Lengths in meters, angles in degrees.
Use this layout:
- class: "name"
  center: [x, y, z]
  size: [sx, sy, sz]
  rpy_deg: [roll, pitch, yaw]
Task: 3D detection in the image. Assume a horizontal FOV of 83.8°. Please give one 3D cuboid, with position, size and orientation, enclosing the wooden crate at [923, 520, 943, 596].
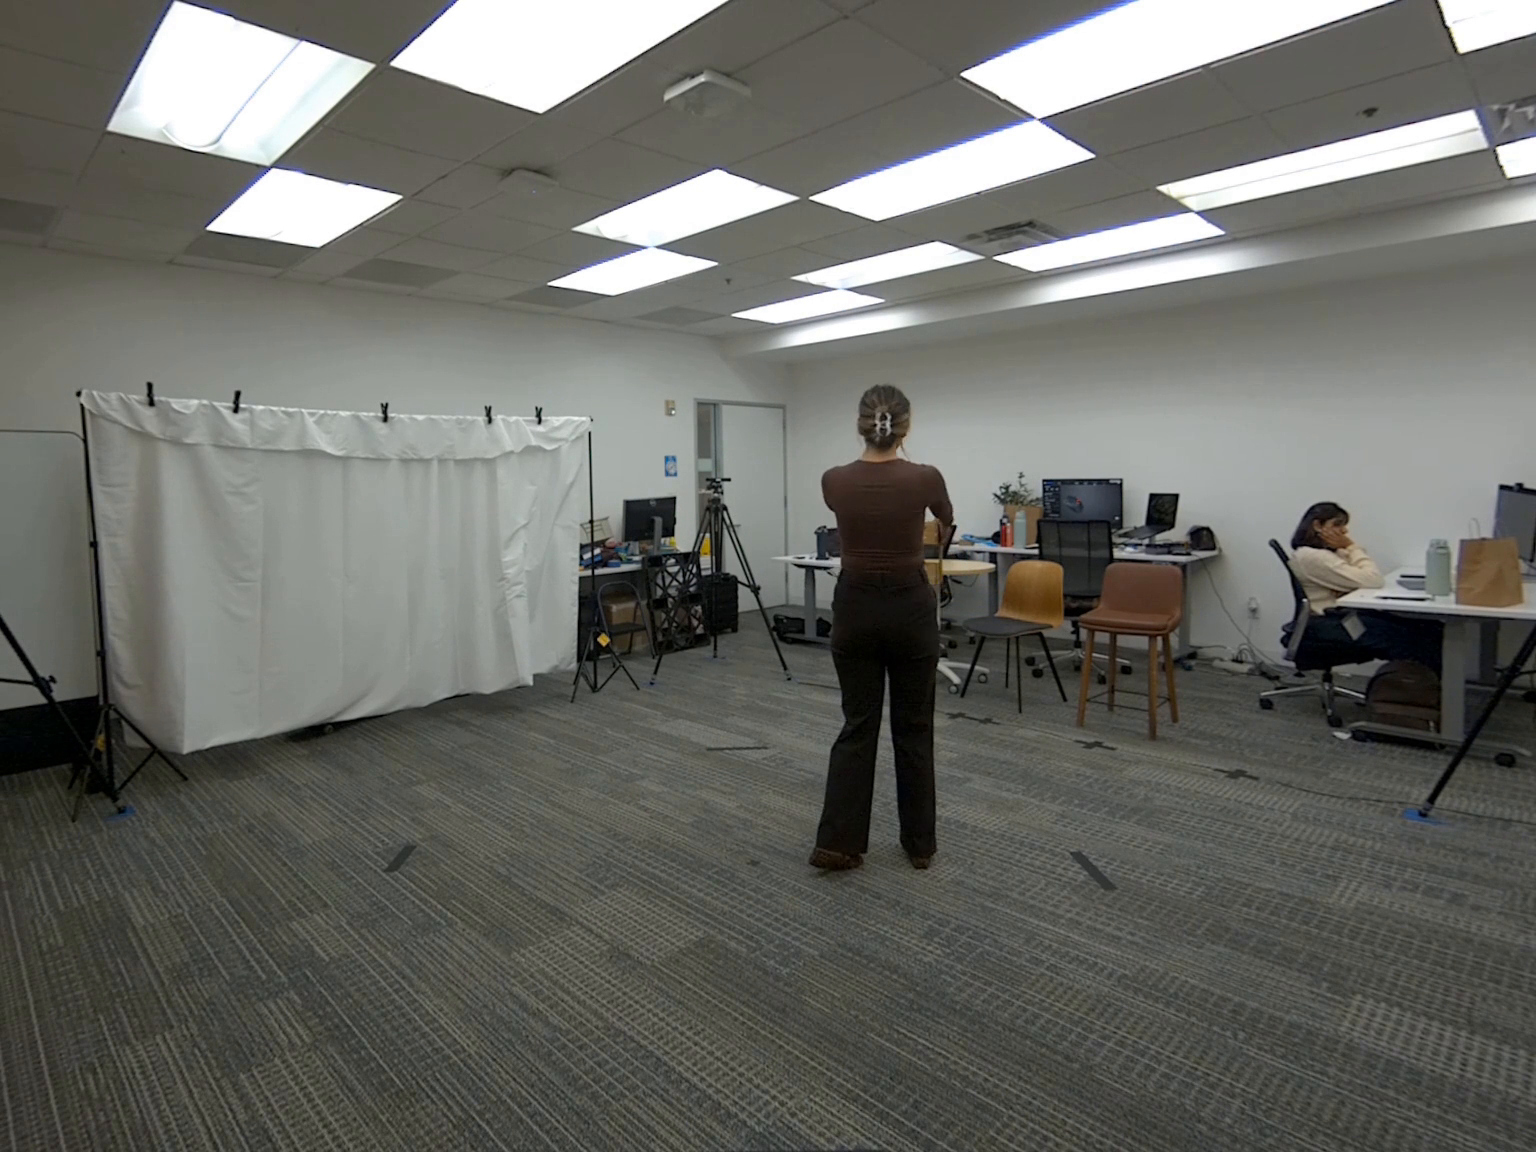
- class: "wooden crate"
  center: [0.582, -0.102, 3.643]
  size: [0.330, 0.273, 0.297]
  rpy_deg: [1, 2, 16]
